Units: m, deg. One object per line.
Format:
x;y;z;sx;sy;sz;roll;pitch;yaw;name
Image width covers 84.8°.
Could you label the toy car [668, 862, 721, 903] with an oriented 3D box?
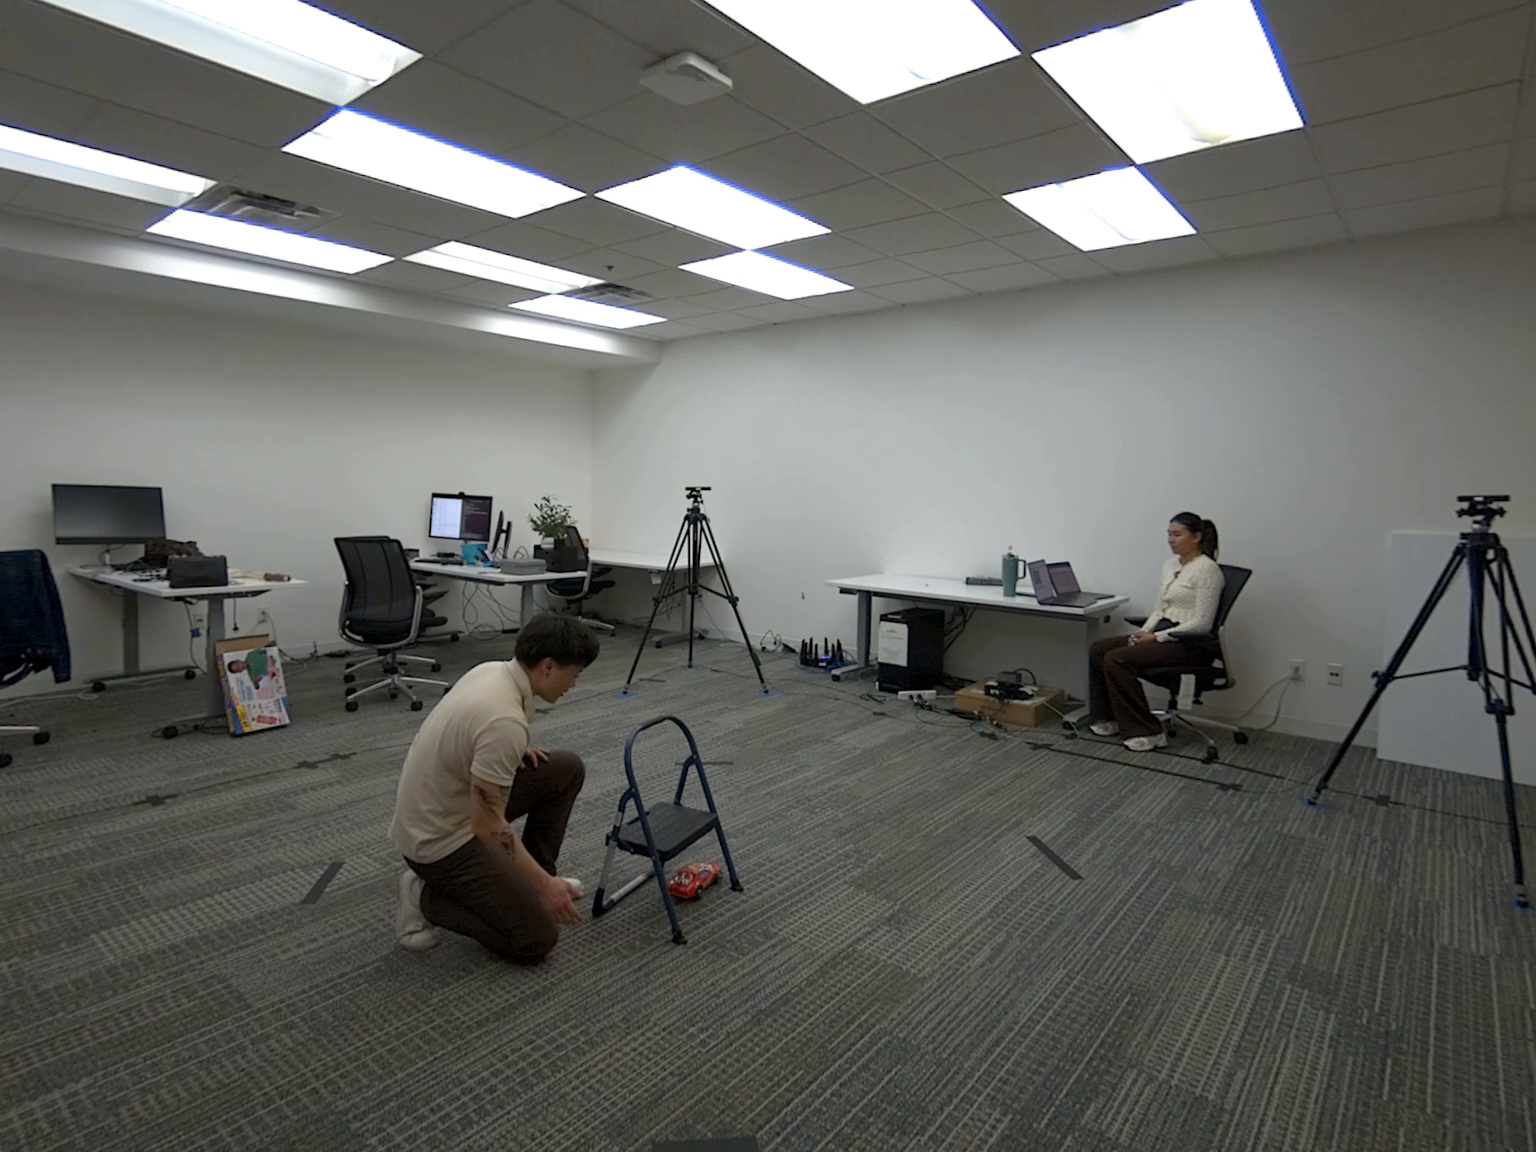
-0.269;1.054;2.929;0.134;0.083;0.246;3;-5;26;toy car
